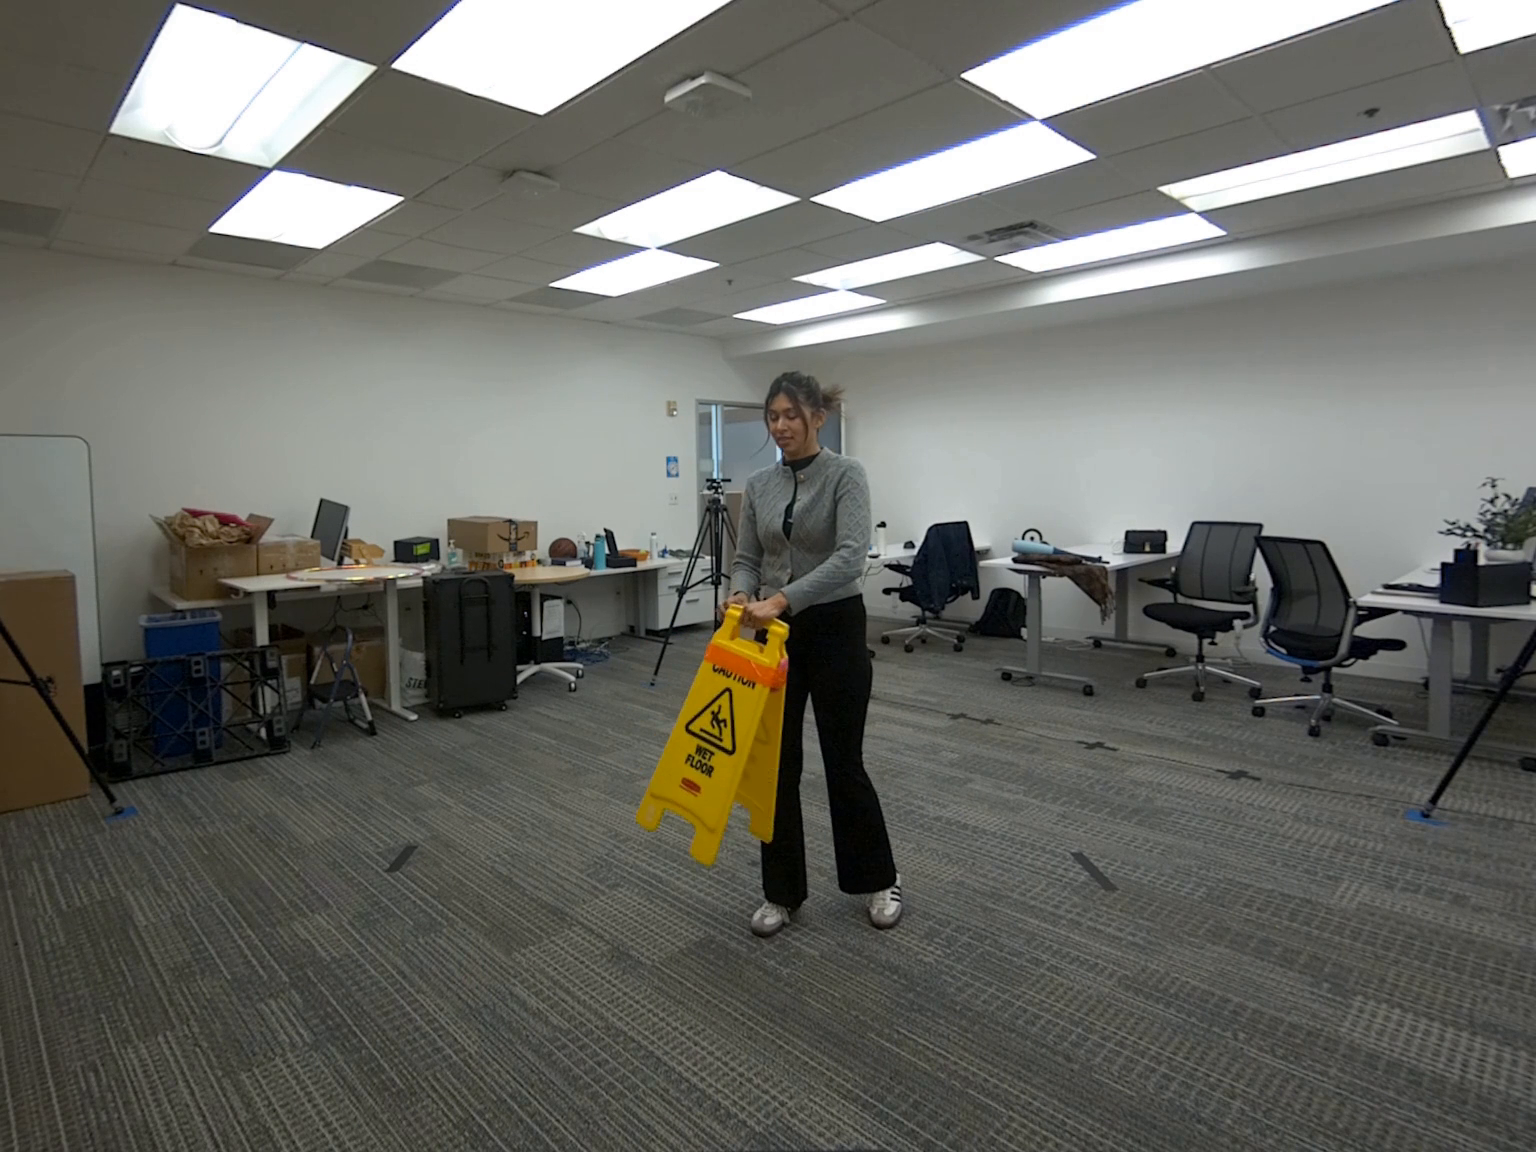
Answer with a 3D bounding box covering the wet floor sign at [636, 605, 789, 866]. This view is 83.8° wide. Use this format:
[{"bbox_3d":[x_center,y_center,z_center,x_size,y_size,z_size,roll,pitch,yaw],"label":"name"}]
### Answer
[{"bbox_3d":[-0.100,0.413,2.373,0.292,0.644,0.281,16,6,34],"label":"wet floor sign"}]
